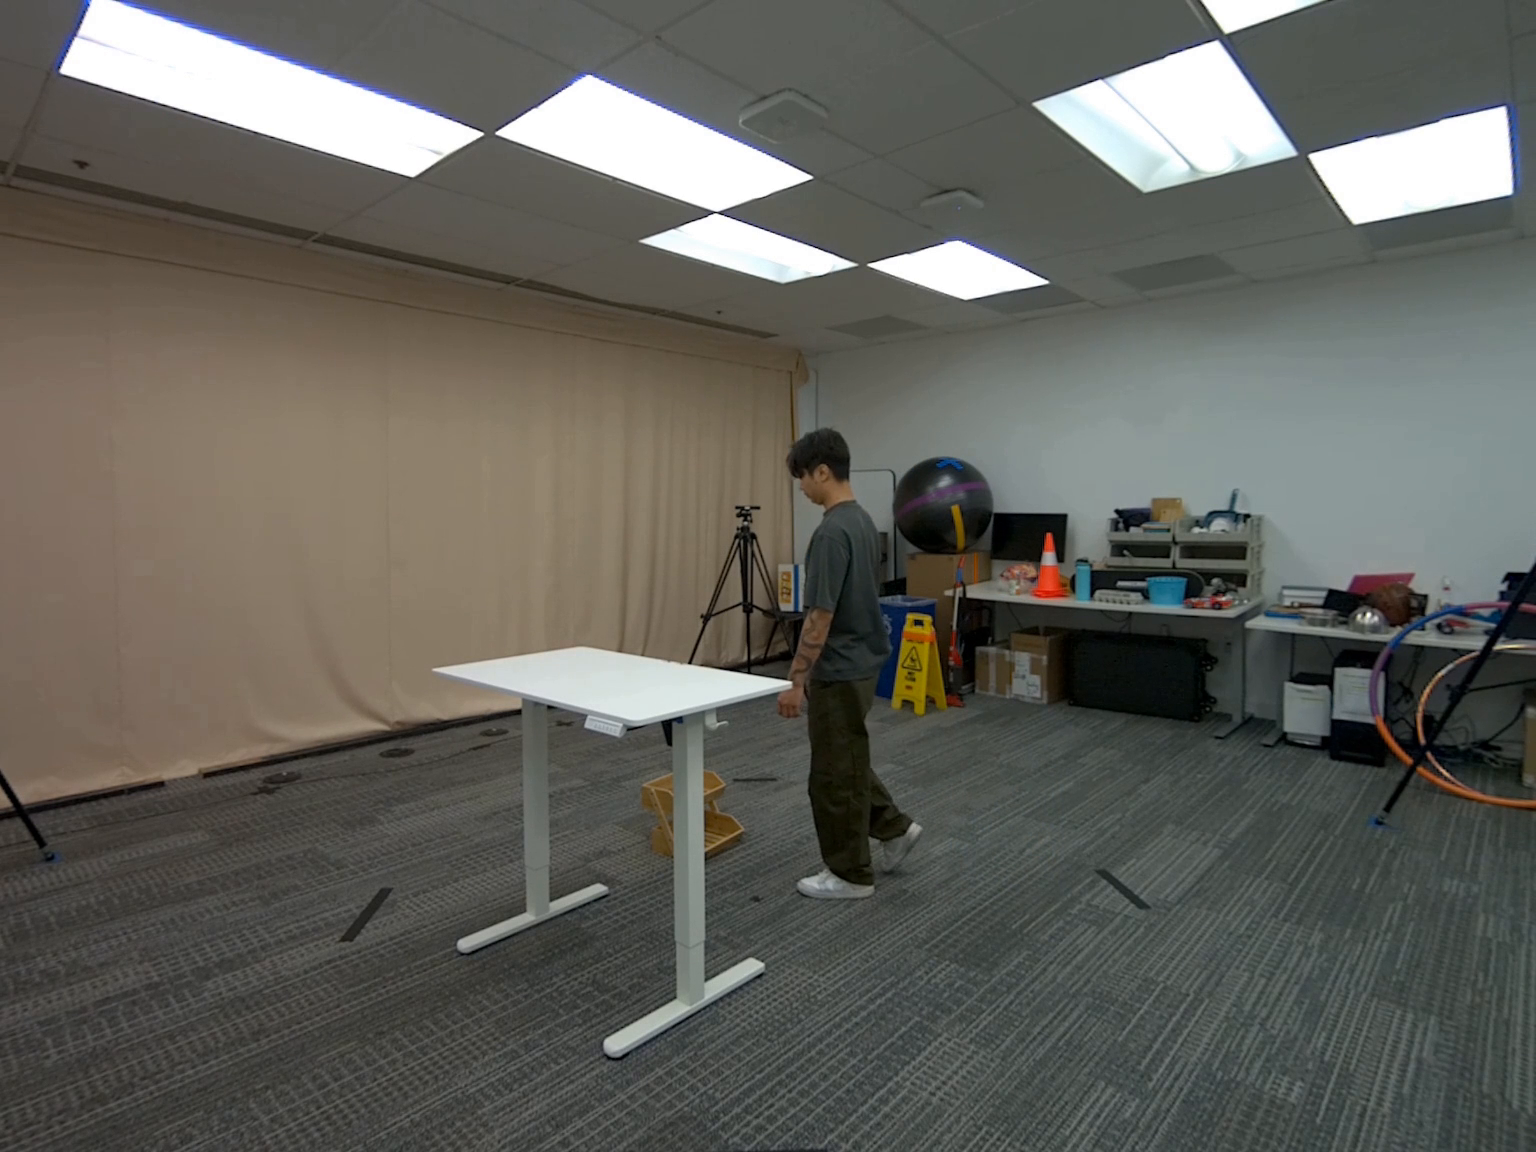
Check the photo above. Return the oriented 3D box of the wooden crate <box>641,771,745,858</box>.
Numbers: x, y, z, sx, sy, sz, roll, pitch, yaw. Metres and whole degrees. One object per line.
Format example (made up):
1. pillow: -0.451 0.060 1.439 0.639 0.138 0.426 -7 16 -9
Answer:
1. wooden crate: -0.304 0.970 3.464 0.311 0.273 0.315 2 5 35
